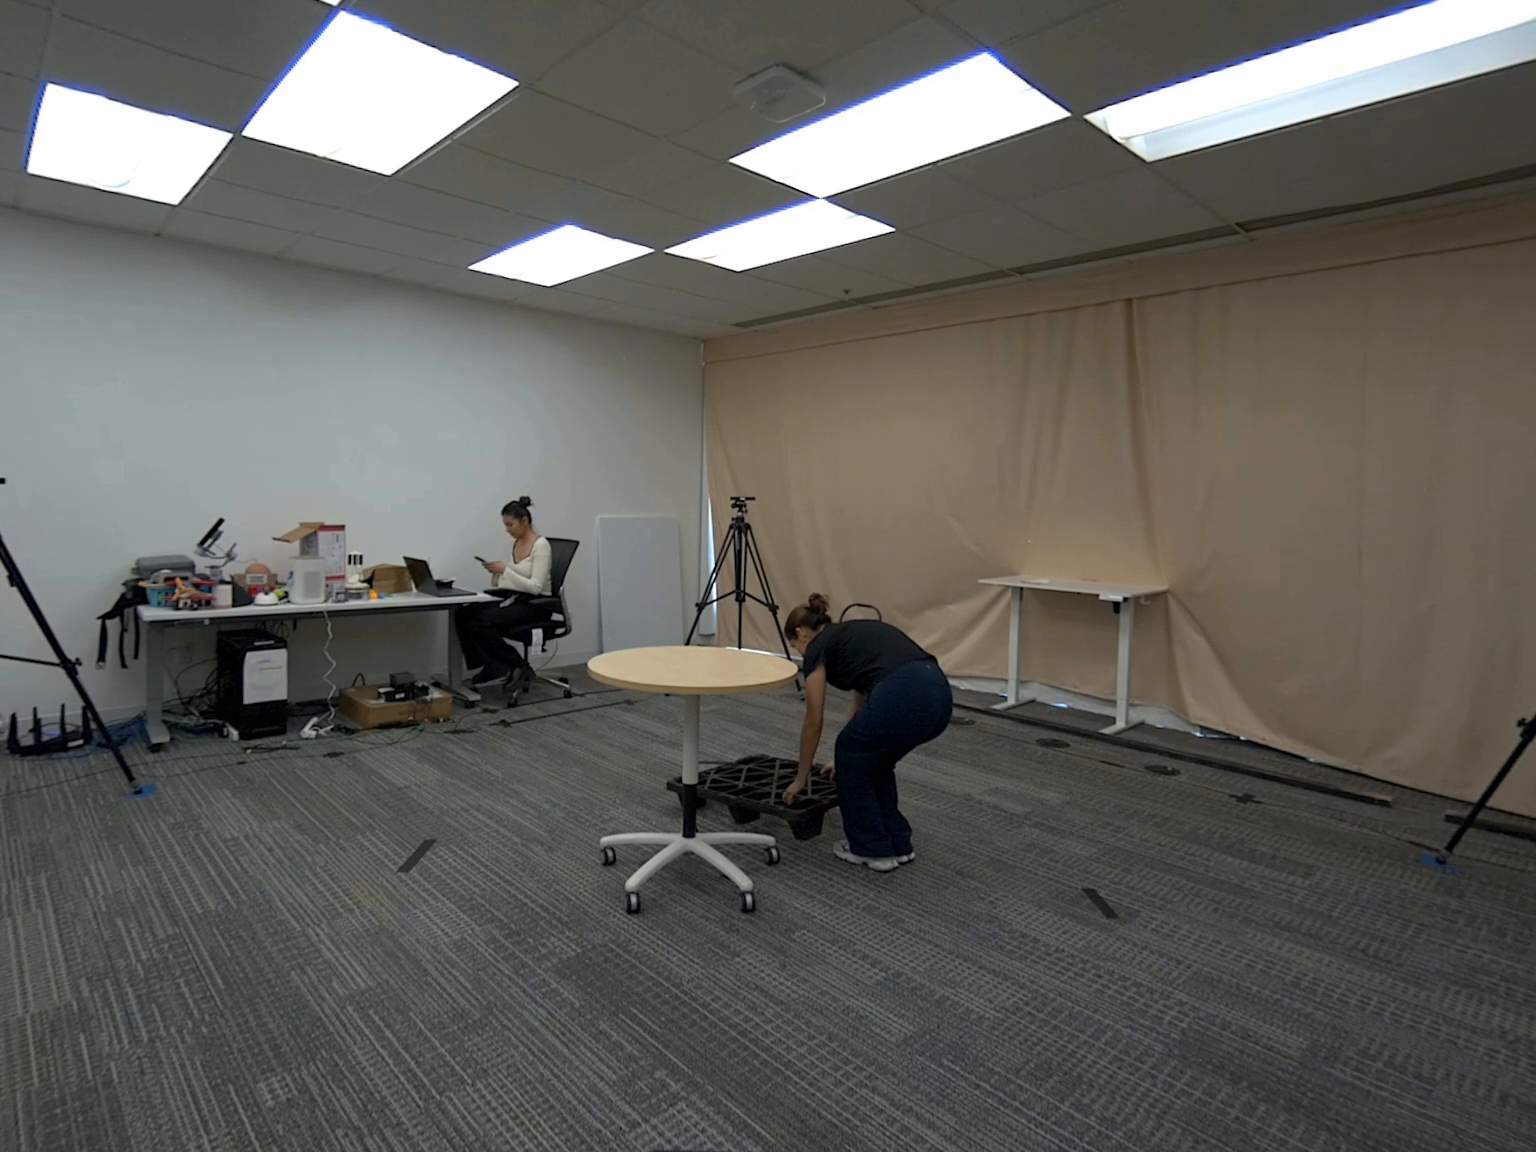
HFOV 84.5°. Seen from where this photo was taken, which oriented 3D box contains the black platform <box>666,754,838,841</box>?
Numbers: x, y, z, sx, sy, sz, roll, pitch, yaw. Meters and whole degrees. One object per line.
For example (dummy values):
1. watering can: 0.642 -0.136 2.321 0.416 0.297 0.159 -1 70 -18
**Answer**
1. black platform: 0.031 0.956 3.655 0.824 0.143 0.592 -2 4 45
